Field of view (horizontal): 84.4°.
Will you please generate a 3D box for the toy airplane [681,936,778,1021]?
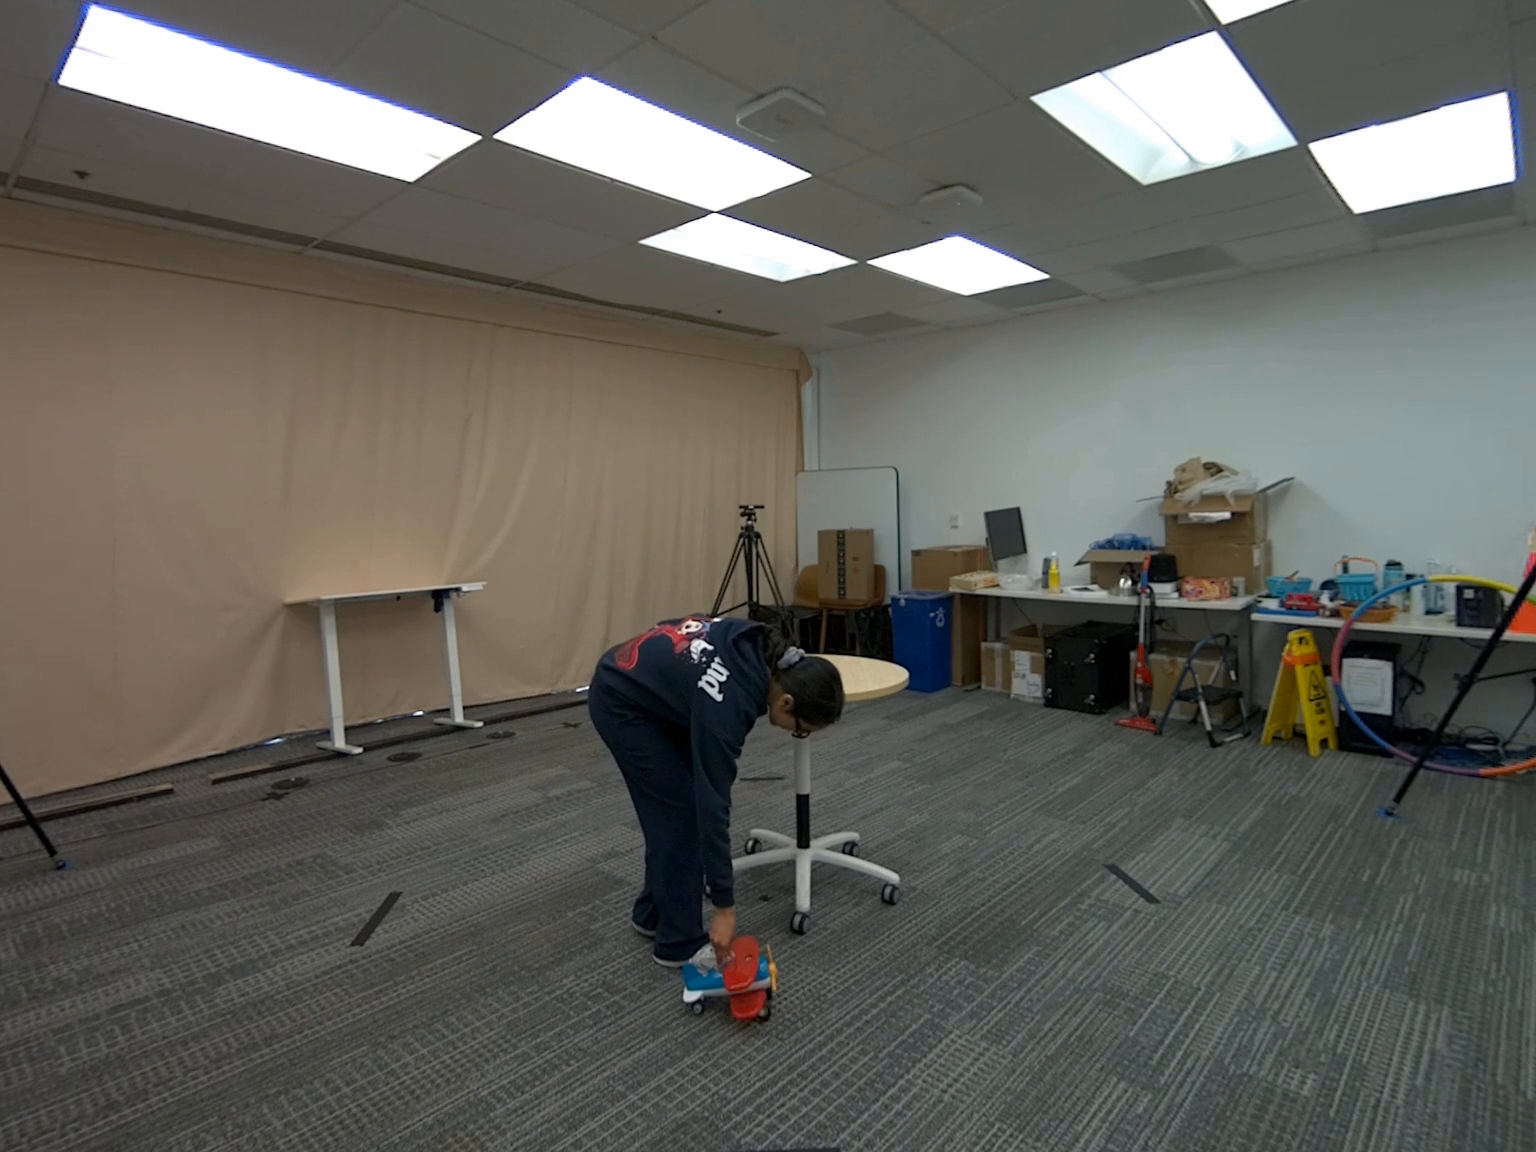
[{"bbox_3d":[-0.095,1.128,2.300,0.253,0.156,0.258,-3,5,-26],"label":"toy airplane"}]
